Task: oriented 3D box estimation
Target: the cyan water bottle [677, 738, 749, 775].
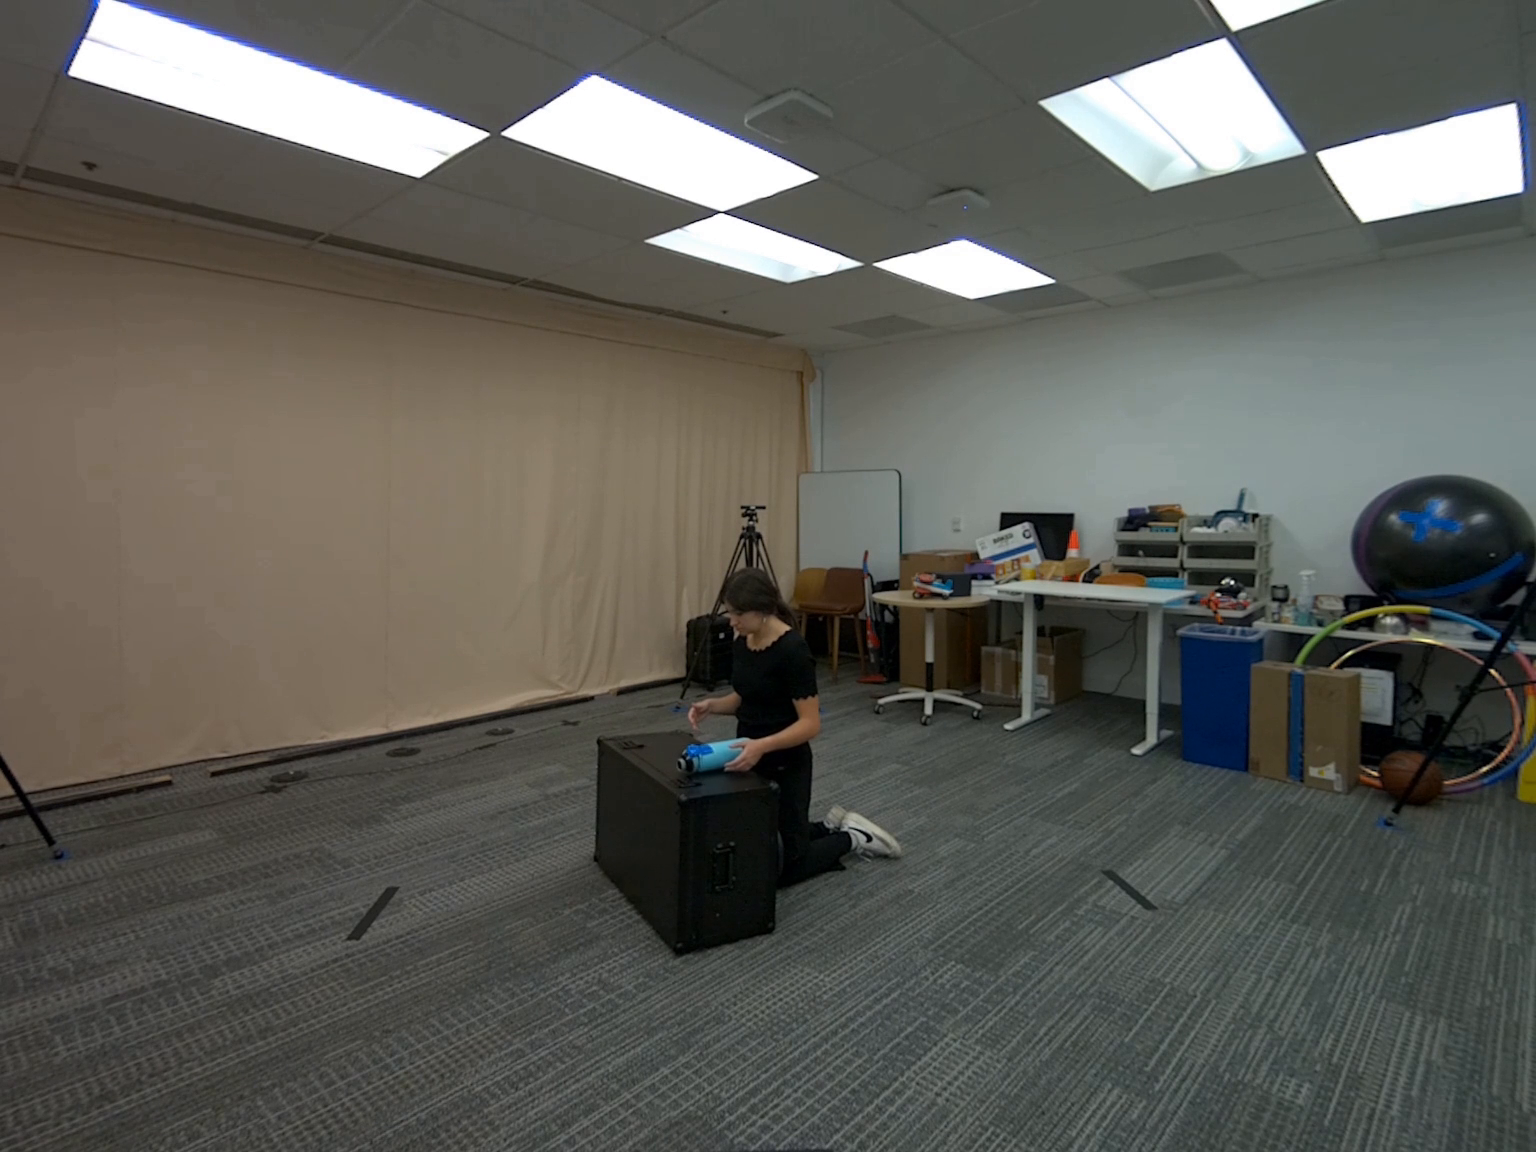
[{"bbox_3d":[-0.176,0.613,2.904,0.275,0.092,0.095,-1,3,-35],"label":"cyan water bottle"}]
